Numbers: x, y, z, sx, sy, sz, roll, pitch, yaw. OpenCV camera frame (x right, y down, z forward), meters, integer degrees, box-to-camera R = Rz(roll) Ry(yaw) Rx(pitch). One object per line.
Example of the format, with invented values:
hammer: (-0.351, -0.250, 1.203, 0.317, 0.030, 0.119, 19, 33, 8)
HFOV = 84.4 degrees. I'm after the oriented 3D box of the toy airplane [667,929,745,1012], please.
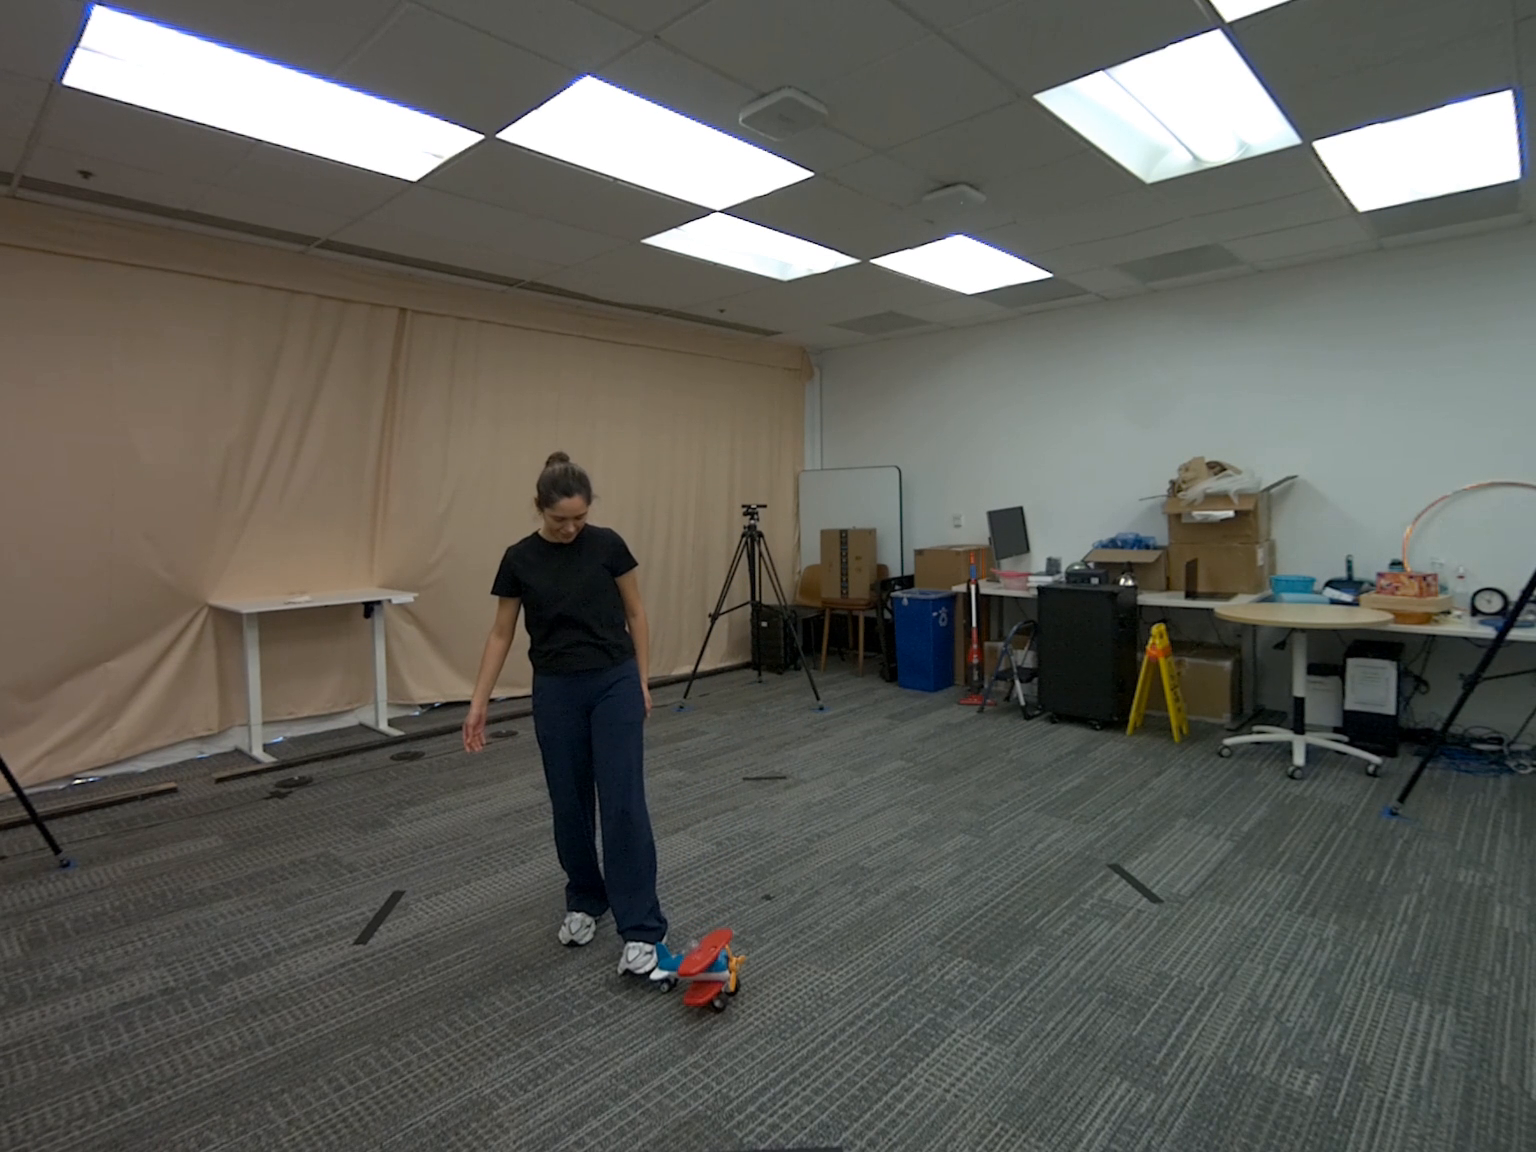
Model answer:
toy airplane: (-0.193, 1.122, 2.372, 0.258, 0.156, 0.253, 1, 5, -4)
